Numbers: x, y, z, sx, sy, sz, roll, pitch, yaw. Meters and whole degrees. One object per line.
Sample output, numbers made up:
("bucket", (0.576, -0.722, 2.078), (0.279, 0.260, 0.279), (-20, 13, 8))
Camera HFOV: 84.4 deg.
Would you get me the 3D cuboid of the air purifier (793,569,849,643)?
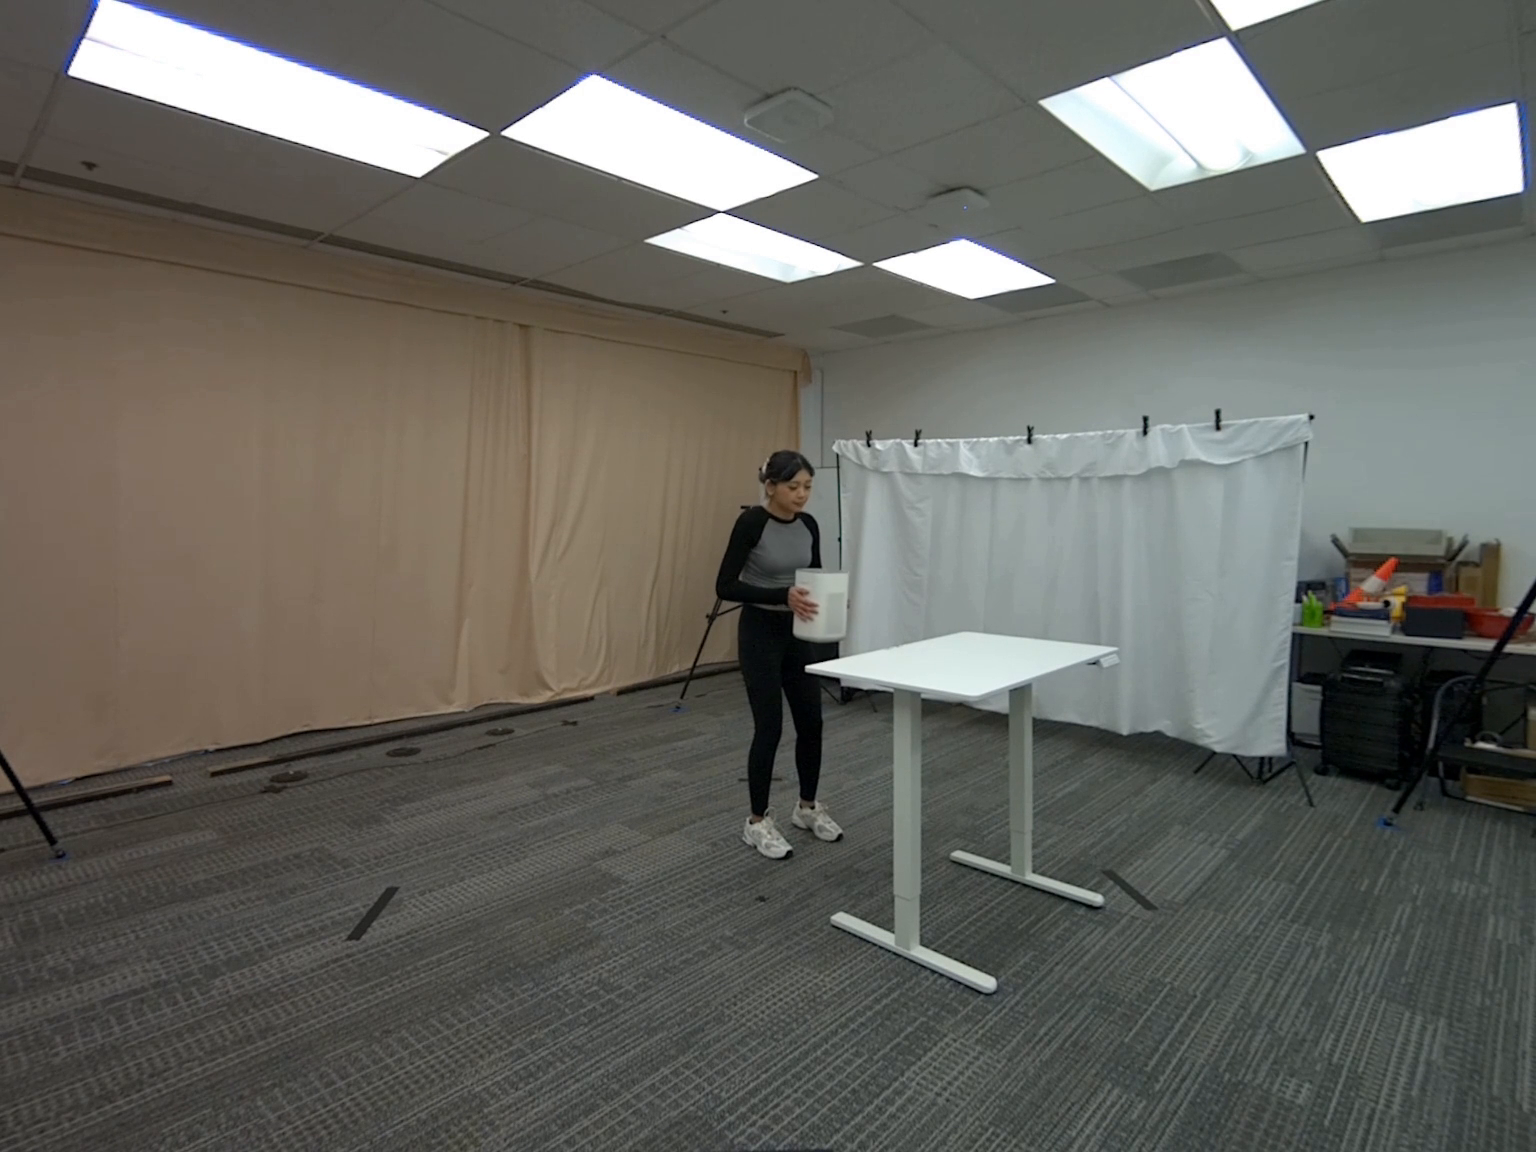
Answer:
("air purifier", (0.201, 0.114, 3.189), (0.166, 0.265, 0.177), (0, 4, -37))
